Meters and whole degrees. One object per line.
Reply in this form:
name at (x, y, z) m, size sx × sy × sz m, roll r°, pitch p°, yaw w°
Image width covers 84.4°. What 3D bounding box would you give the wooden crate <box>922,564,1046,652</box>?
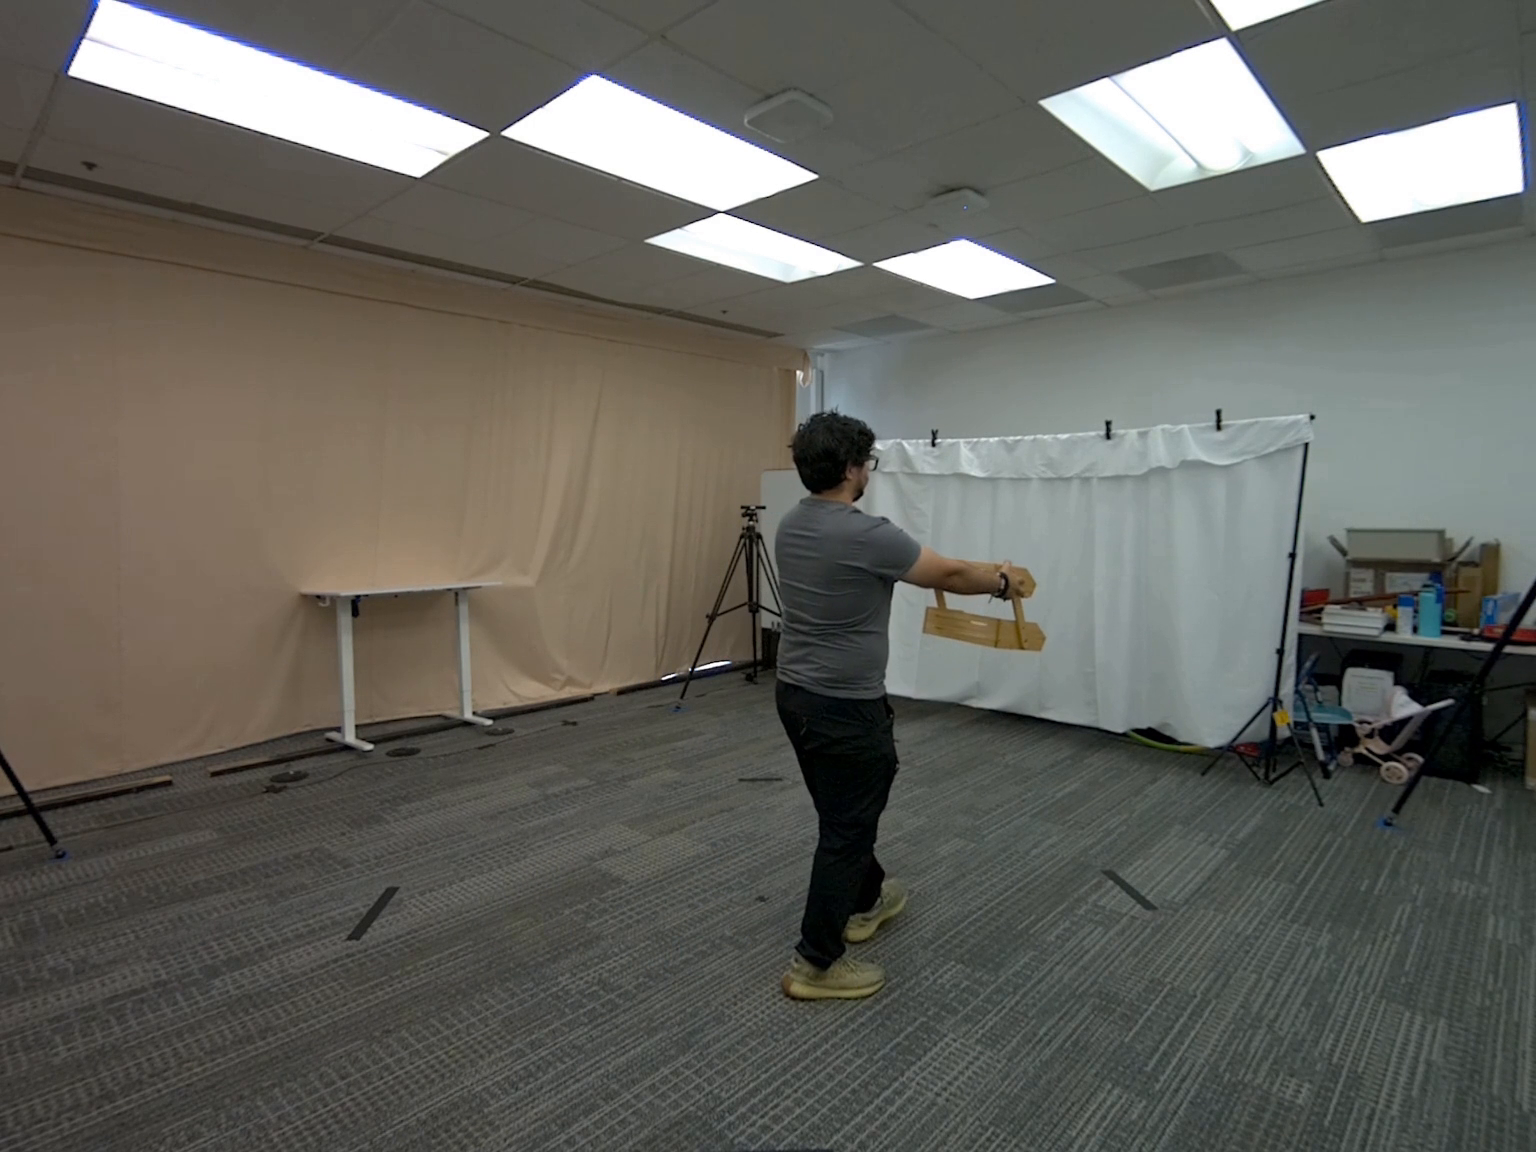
wooden crate at (0.724, 0.086, 2.784) m, size 0.293 × 0.273 × 0.335 m, roll 4°, pitch 2°, yaw -35°
